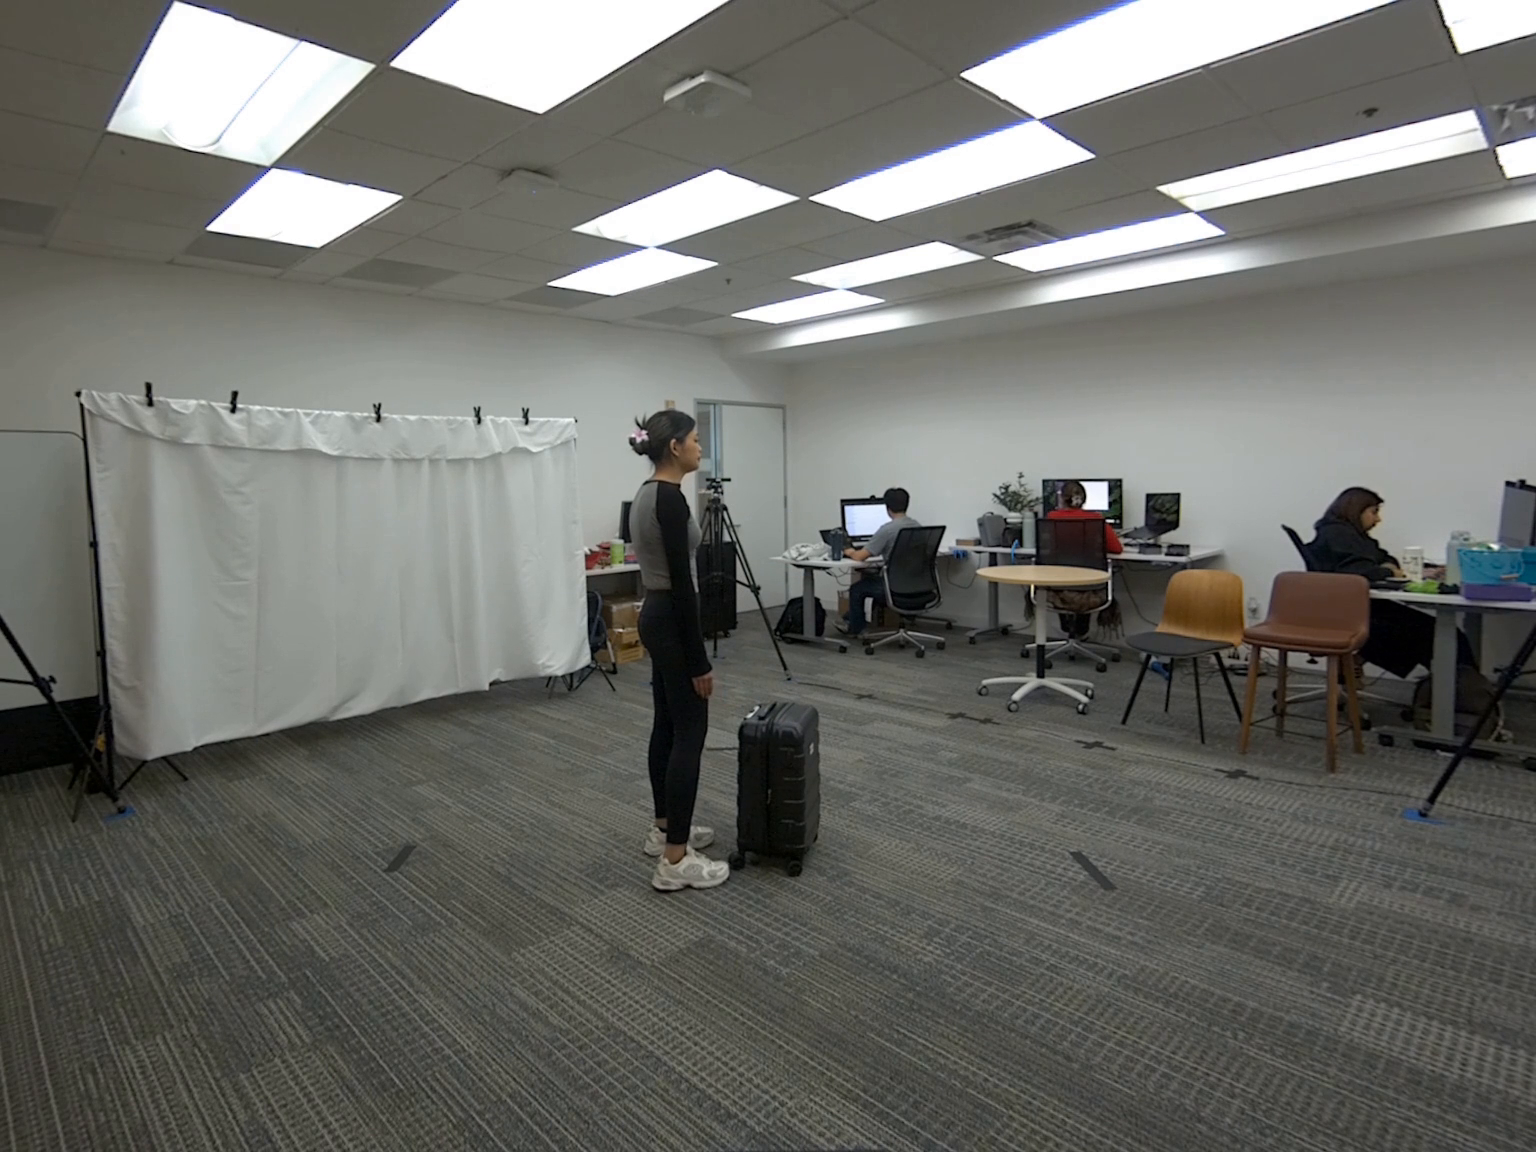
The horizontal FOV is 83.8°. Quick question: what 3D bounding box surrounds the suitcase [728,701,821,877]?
[{"bbox_3d":[0.047,0.761,3.169,0.252,0.547,0.370,2,4,16],"label":"suitcase"}]
